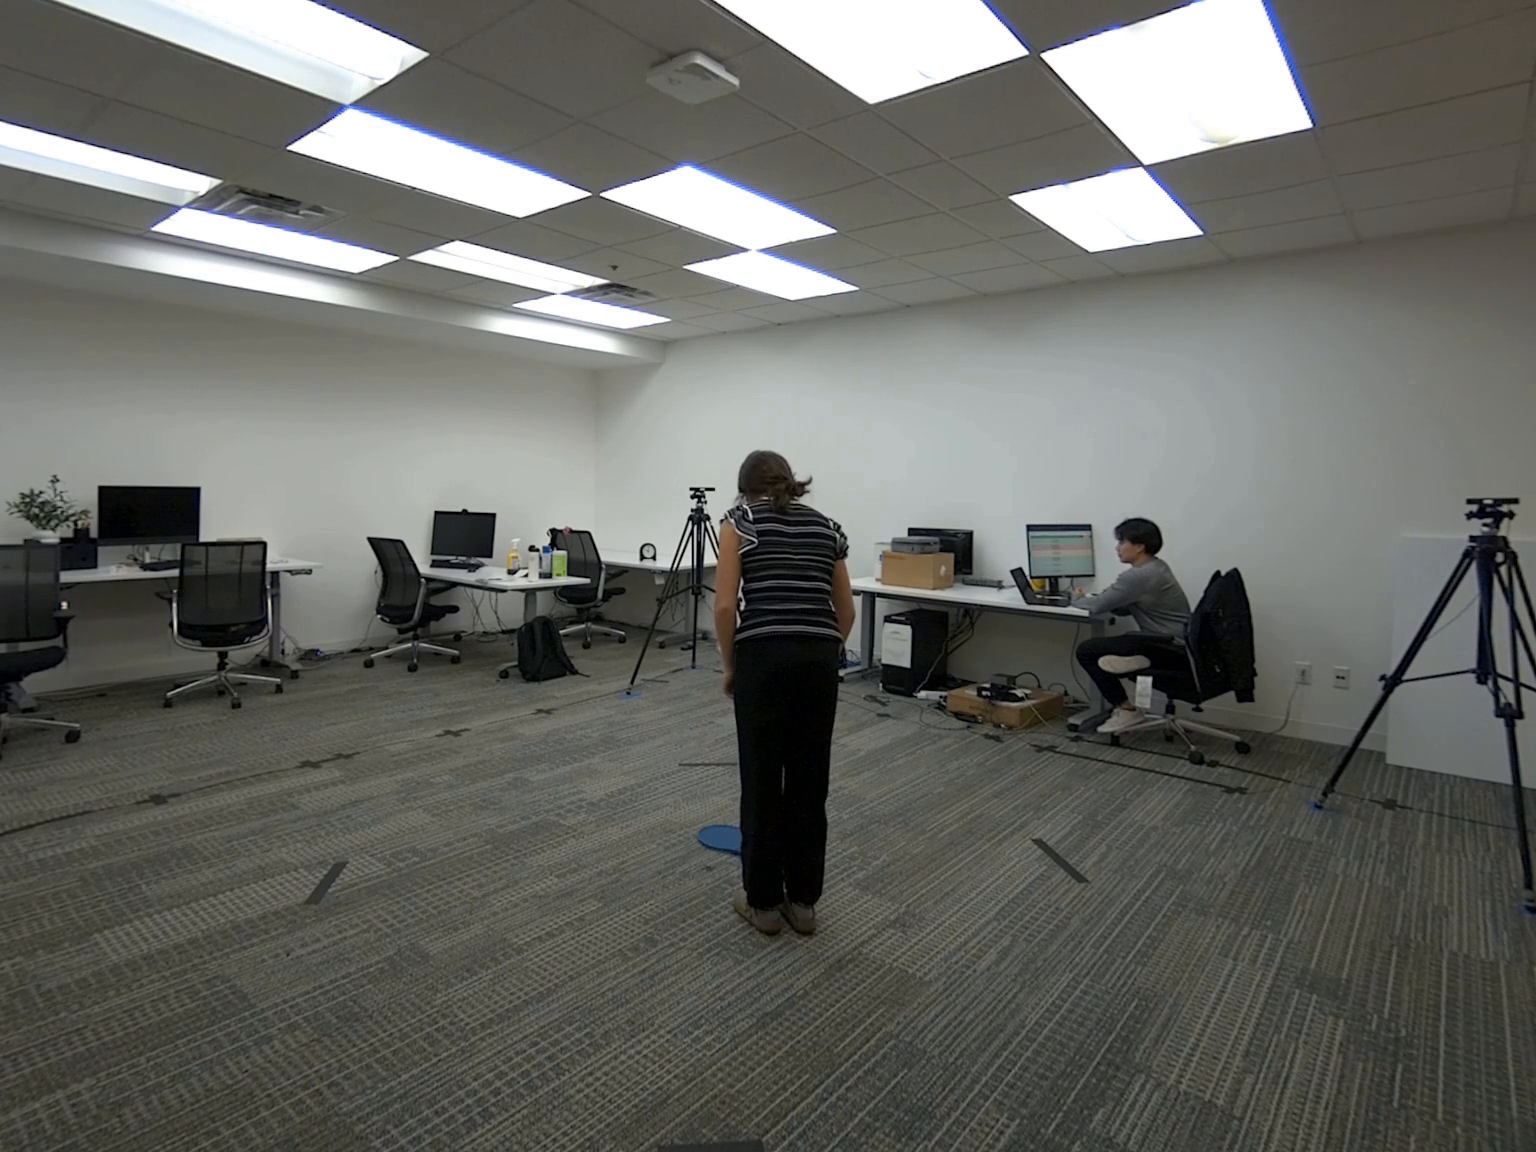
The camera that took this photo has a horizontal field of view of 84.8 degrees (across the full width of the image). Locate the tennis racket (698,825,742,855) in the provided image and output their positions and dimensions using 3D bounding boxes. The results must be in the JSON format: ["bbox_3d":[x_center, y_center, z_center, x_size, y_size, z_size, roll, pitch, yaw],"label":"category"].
[{"bbox_3d":[-0.142,1.035,3.294,0.208,0.031,0.445,-3,6,-27],"label":"tennis racket"}]
